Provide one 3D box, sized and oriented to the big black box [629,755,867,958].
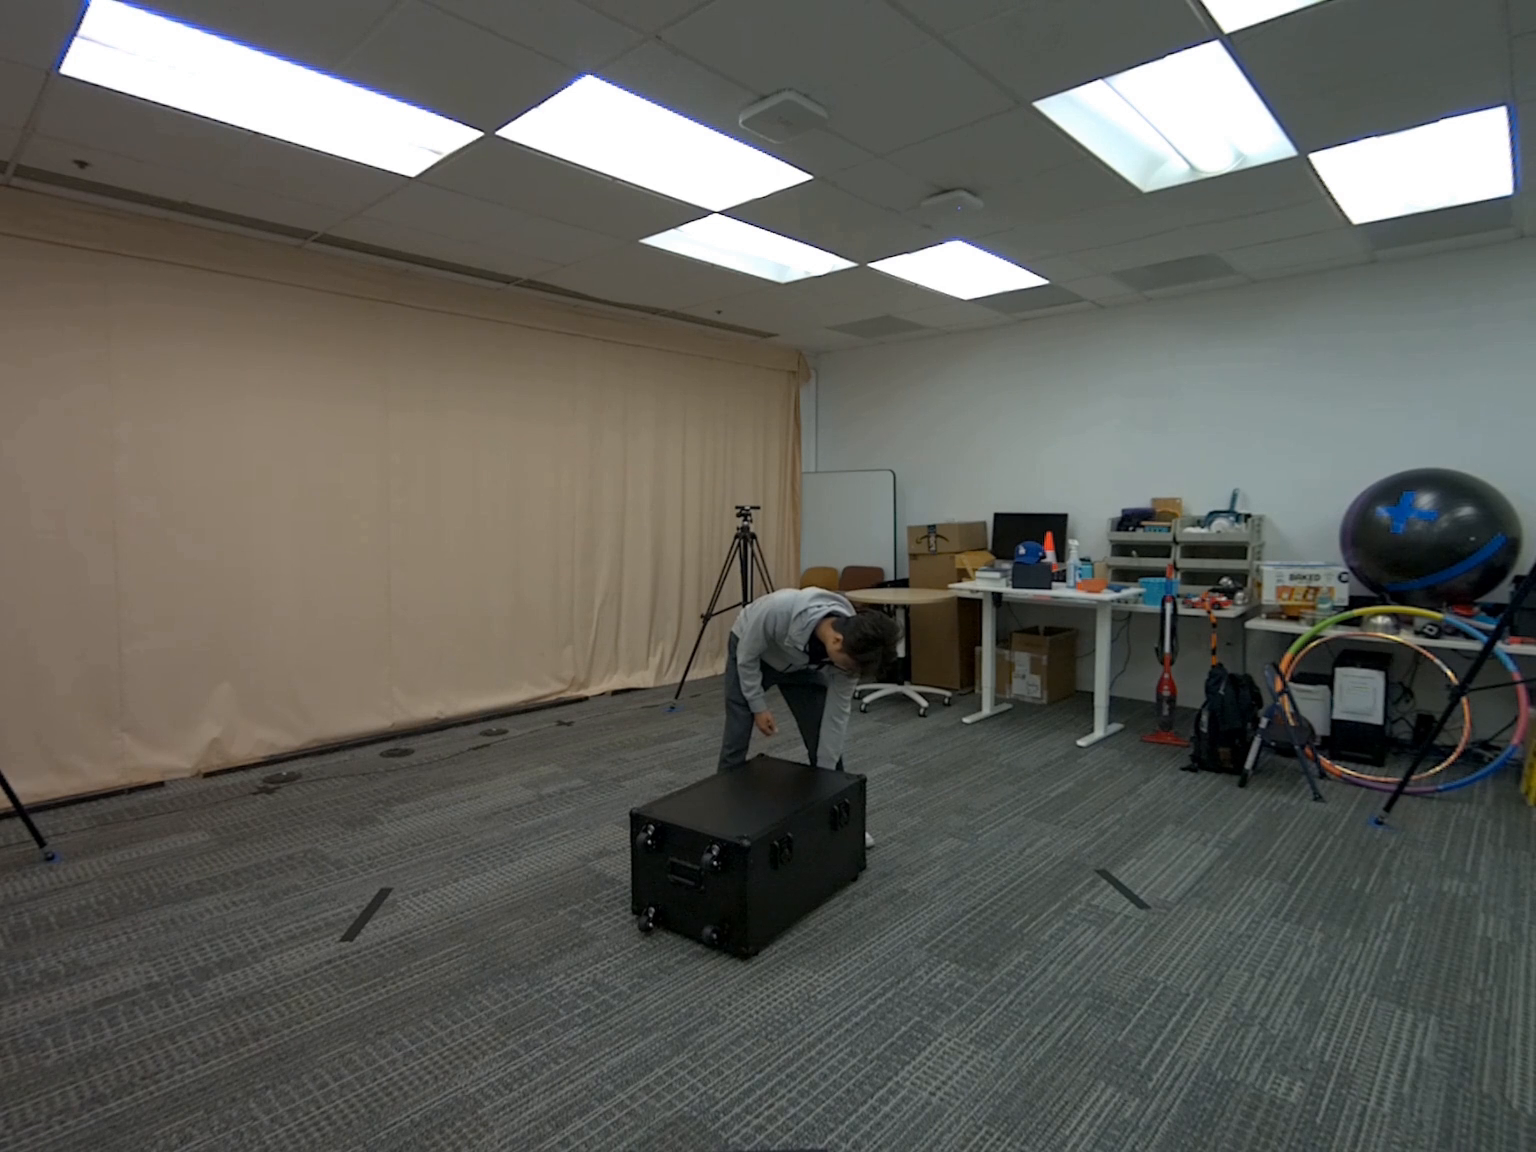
[{"bbox_3d":[-0.068,0.957,2.967,0.537,0.395,0.836,3,5,35],"label":"big black box"}]
